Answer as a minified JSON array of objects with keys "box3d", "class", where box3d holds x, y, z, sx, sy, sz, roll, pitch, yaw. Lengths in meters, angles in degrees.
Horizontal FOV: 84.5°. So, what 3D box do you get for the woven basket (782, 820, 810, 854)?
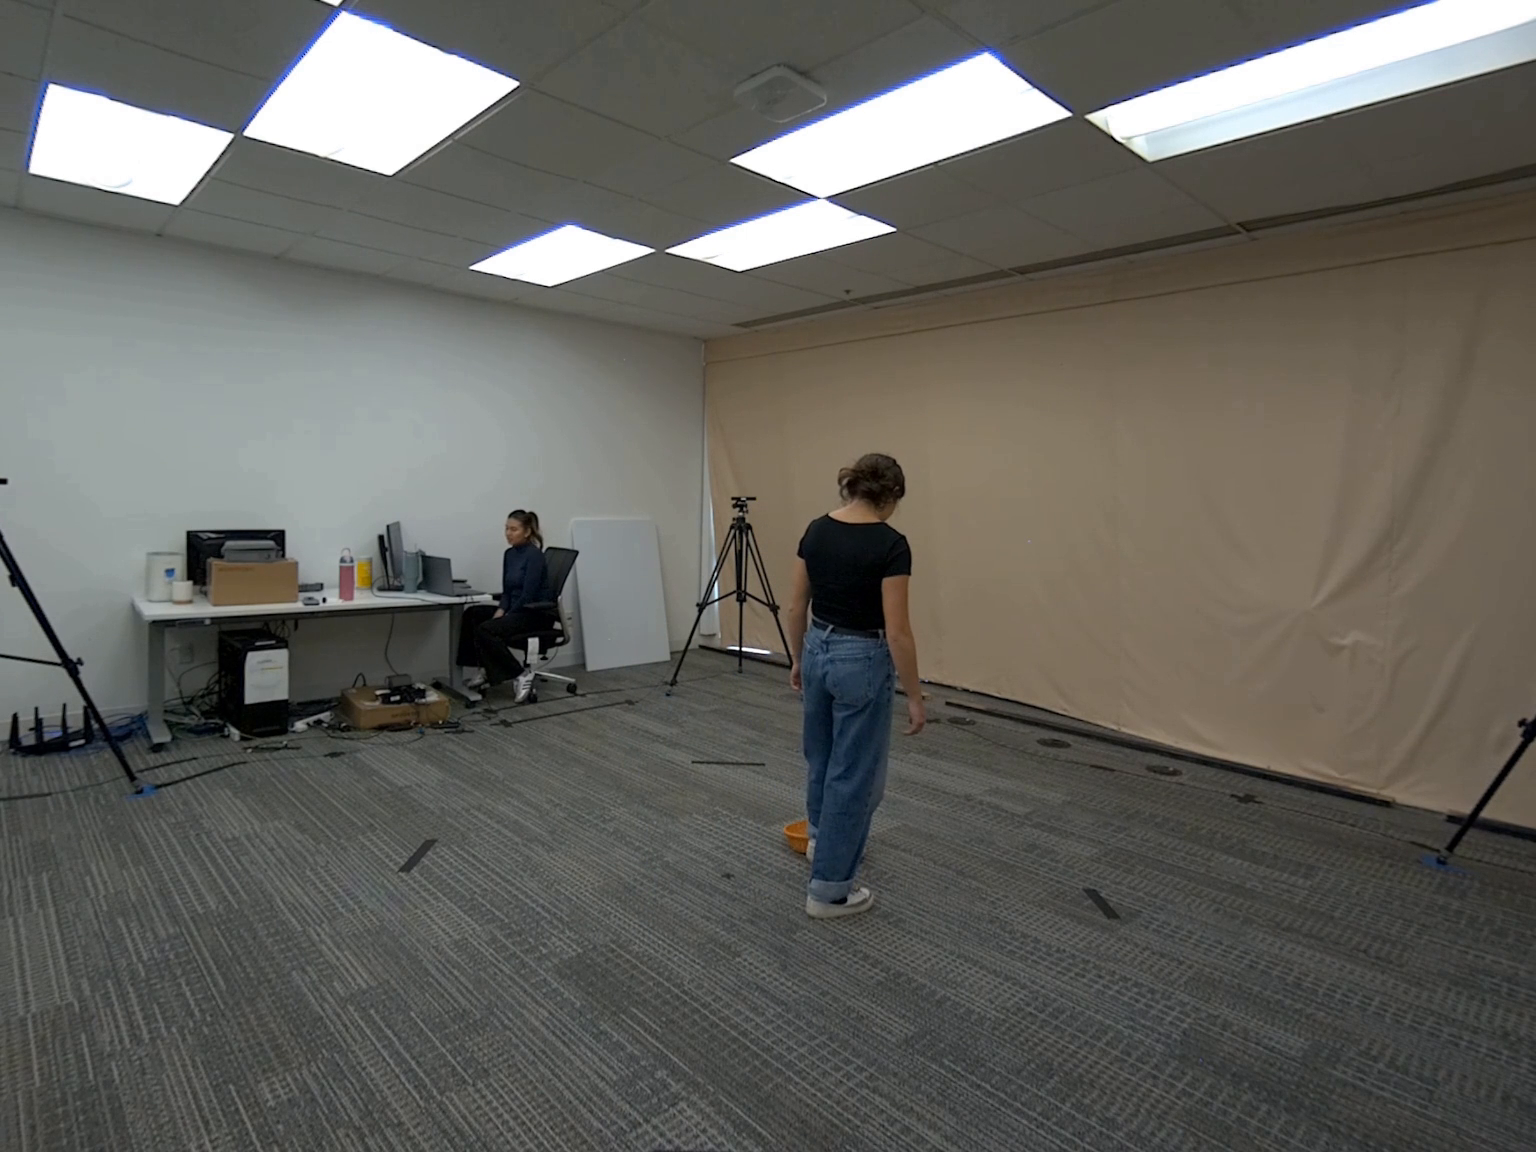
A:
[{"box3d":[0.212,1.047,3.396,0.344,0.073,0.256,-2,-1,-27],"class":"woven basket"}]
